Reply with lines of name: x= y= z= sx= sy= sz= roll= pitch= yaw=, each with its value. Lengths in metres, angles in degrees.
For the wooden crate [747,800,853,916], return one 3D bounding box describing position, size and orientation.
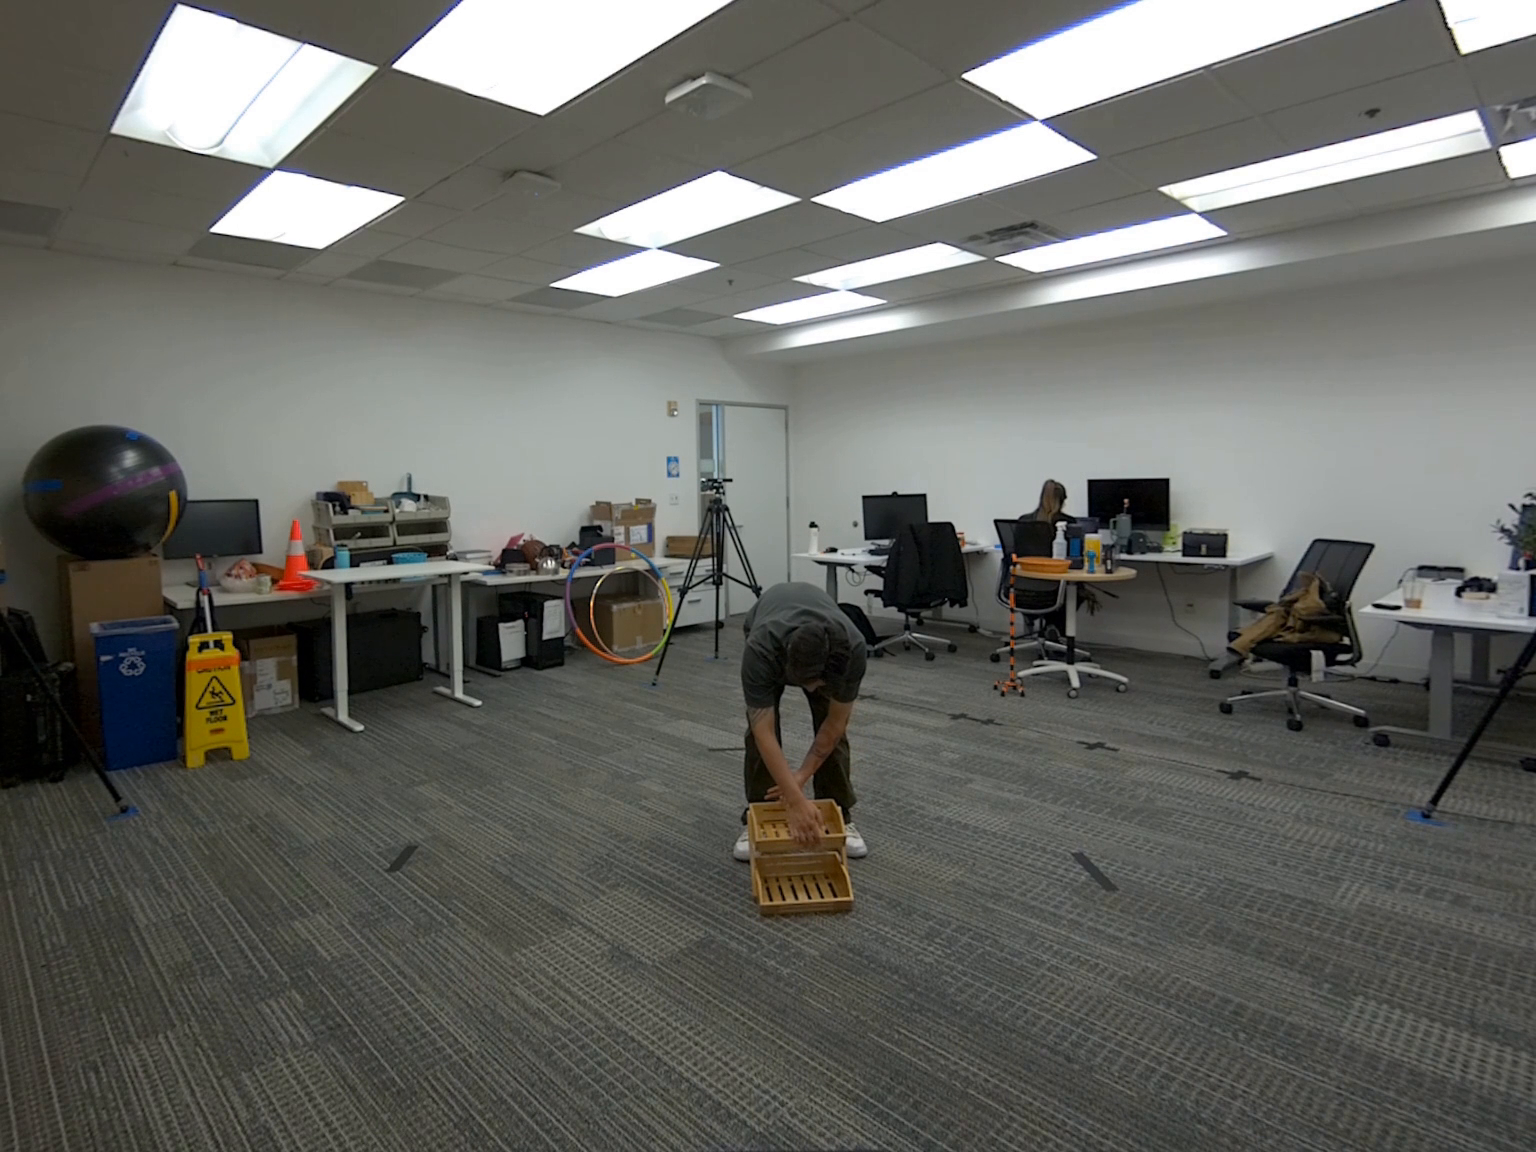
wooden crate: x=0.104 y=0.940 z=2.855 sx=0.323 sy=0.272 sz=0.305 roll=-2 pitch=6 yaw=-6
